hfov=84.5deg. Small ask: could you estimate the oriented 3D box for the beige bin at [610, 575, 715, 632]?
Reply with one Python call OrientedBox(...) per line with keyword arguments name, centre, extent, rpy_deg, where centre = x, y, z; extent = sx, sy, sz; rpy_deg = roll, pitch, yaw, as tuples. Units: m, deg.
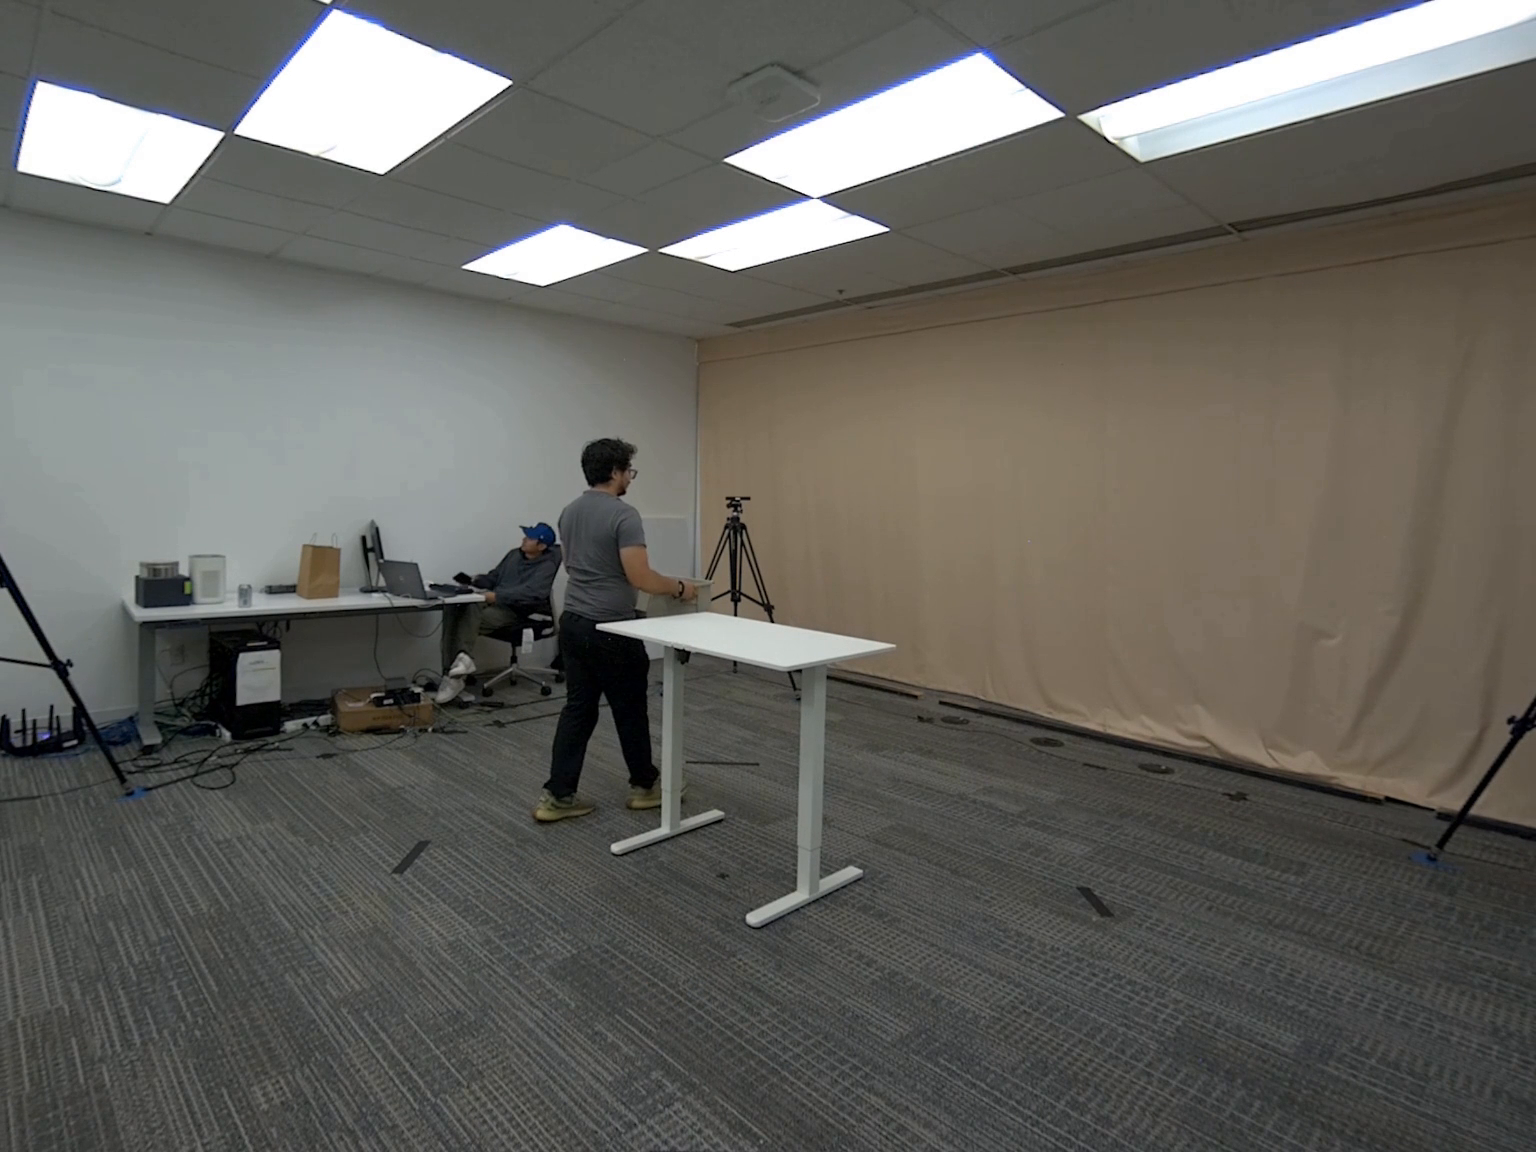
OrientedBox(name="beige bin", centre=(-0.528, 0.116, 3.928), extent=(0.369, 0.188, 0.433), rpy_deg=(-4, 6, -39))
